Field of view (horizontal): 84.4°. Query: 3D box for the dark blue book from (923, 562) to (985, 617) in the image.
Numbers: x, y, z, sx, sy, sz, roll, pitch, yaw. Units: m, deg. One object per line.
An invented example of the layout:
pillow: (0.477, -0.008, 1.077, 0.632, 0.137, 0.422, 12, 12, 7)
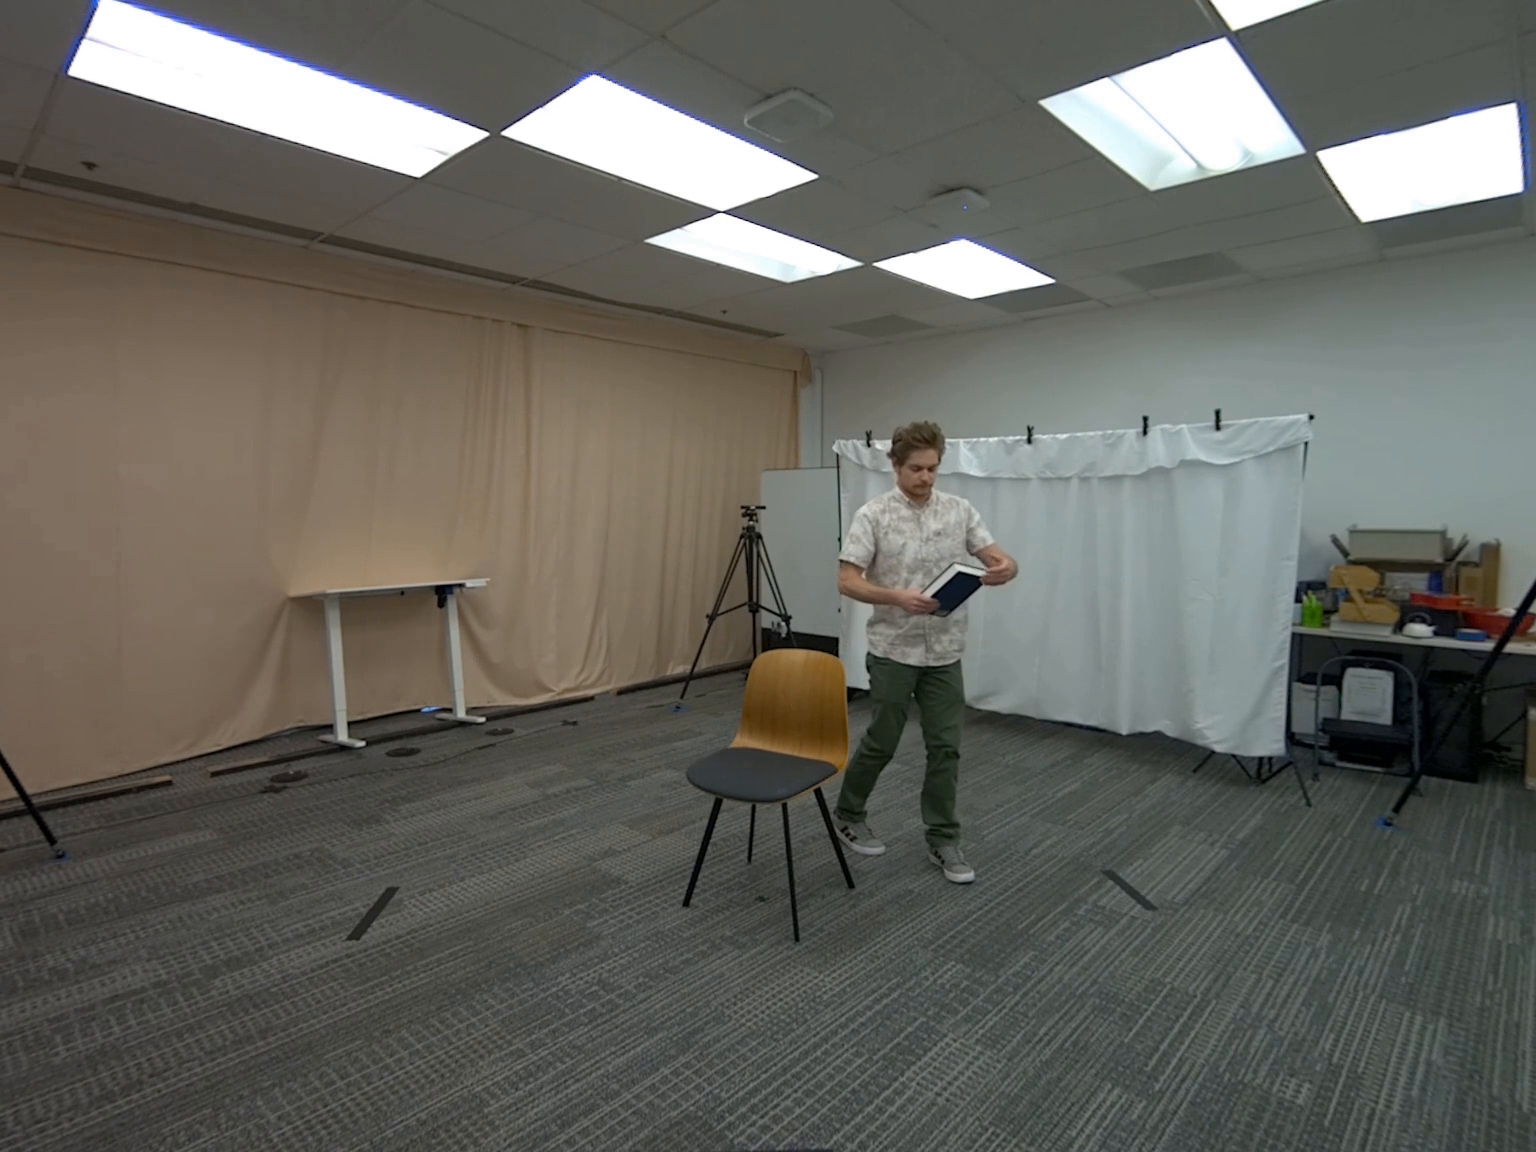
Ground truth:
dark blue book: (0.644, 0.055, 3.025, 0.159, 0.046, 0.246, 11, -43, -28)
